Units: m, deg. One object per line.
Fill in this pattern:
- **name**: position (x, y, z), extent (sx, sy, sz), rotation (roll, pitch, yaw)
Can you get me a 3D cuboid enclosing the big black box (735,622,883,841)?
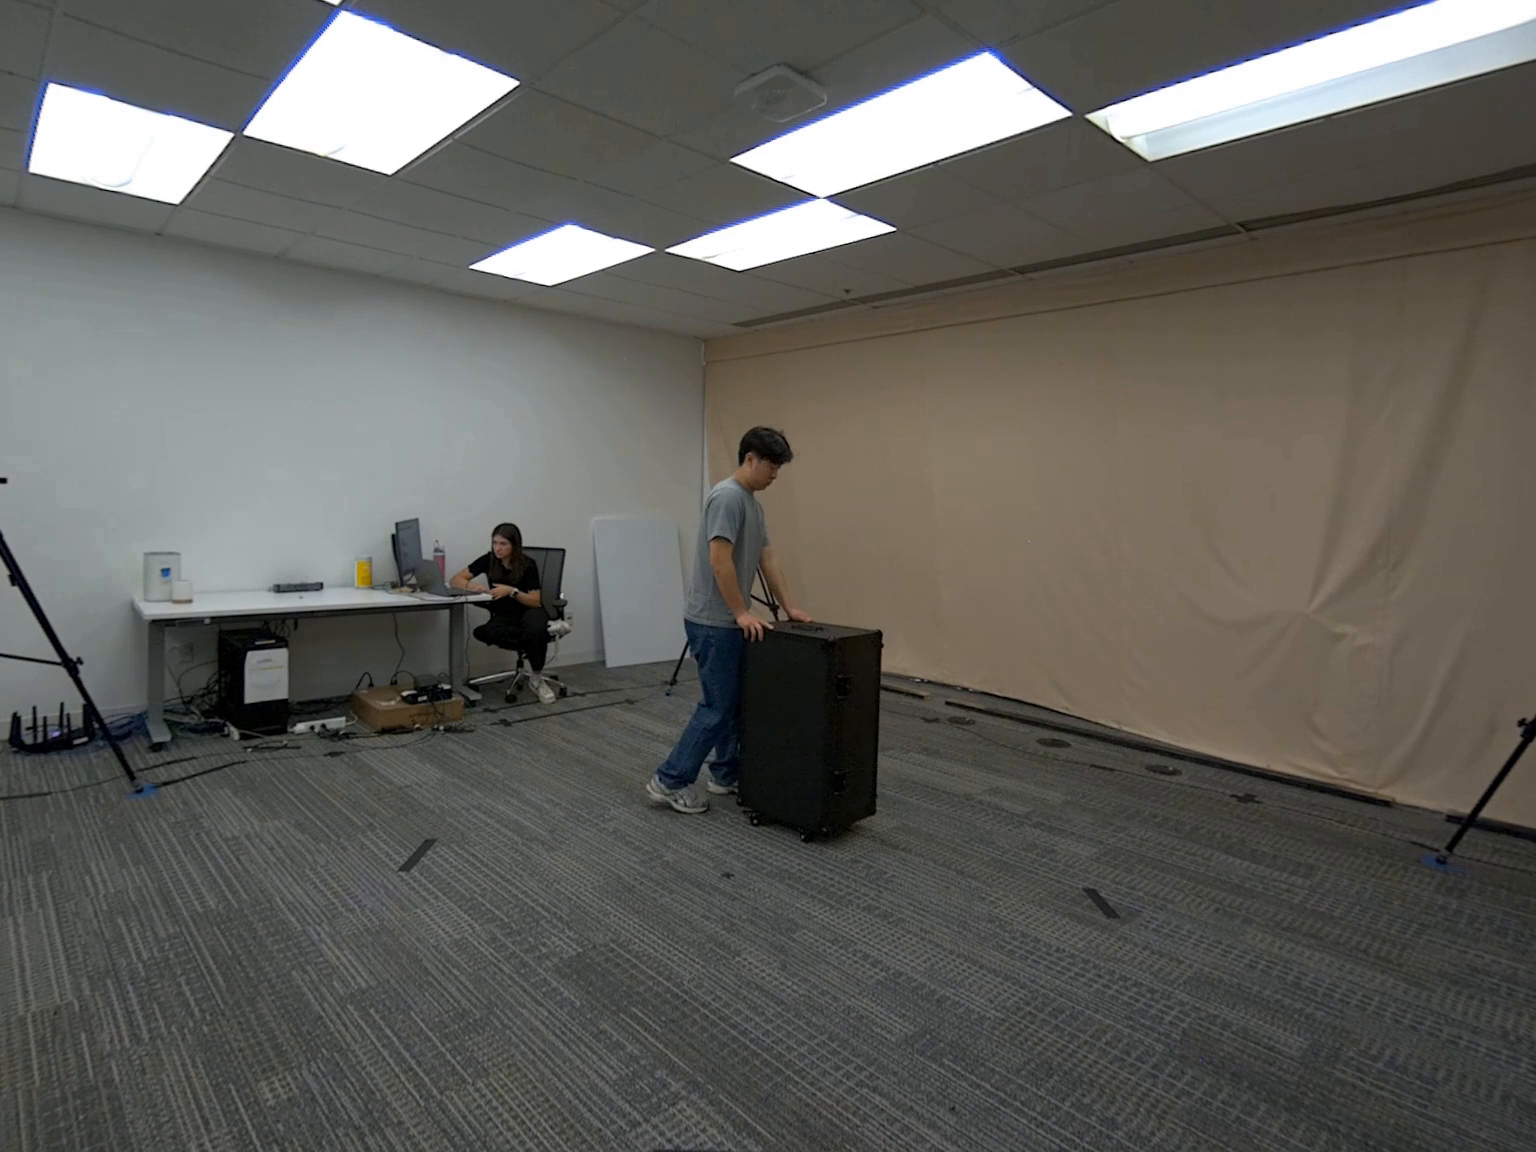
- **big black box**: position (0.171, 0.645, 3.595), extent (0.534, 0.860, 0.387), rotation (4, 3, 40)
